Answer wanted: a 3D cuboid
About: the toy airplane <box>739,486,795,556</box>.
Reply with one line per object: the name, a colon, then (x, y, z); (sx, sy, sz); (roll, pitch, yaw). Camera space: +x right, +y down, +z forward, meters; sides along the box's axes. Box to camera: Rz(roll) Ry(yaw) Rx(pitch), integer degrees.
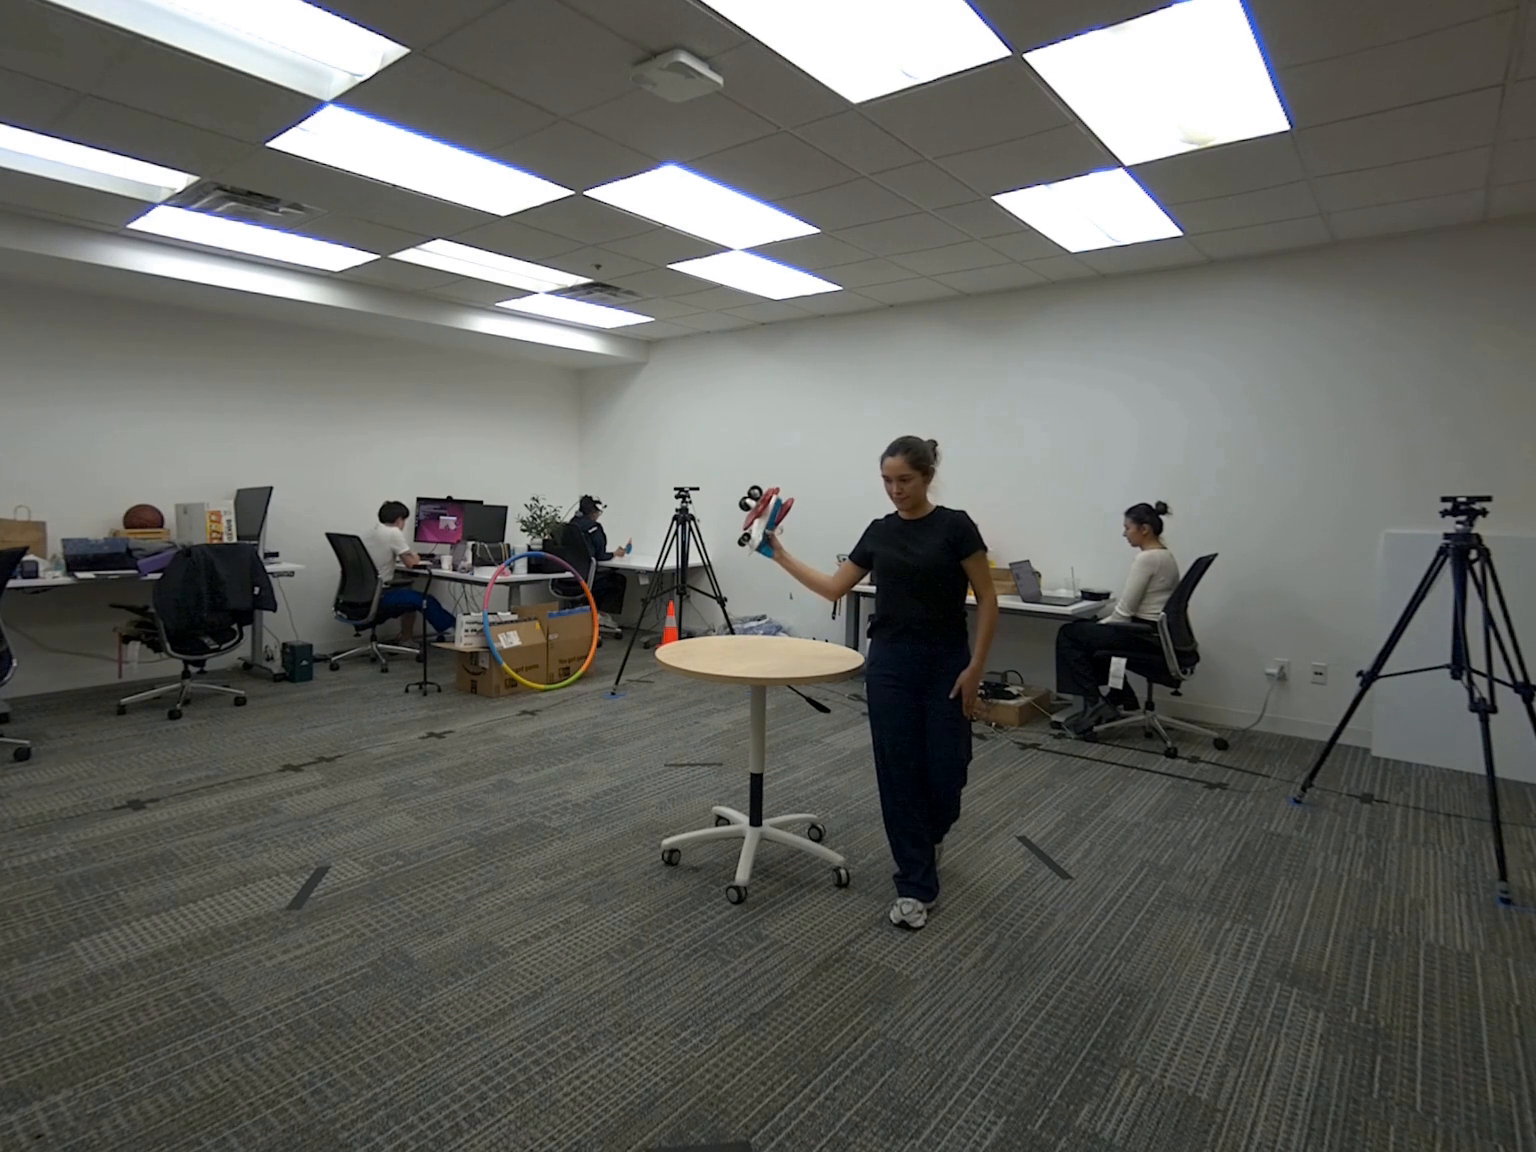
toy airplane: (-0.018, -0.198, 3.100); (0.154, 0.259, 0.255); (14, -1, -15)
